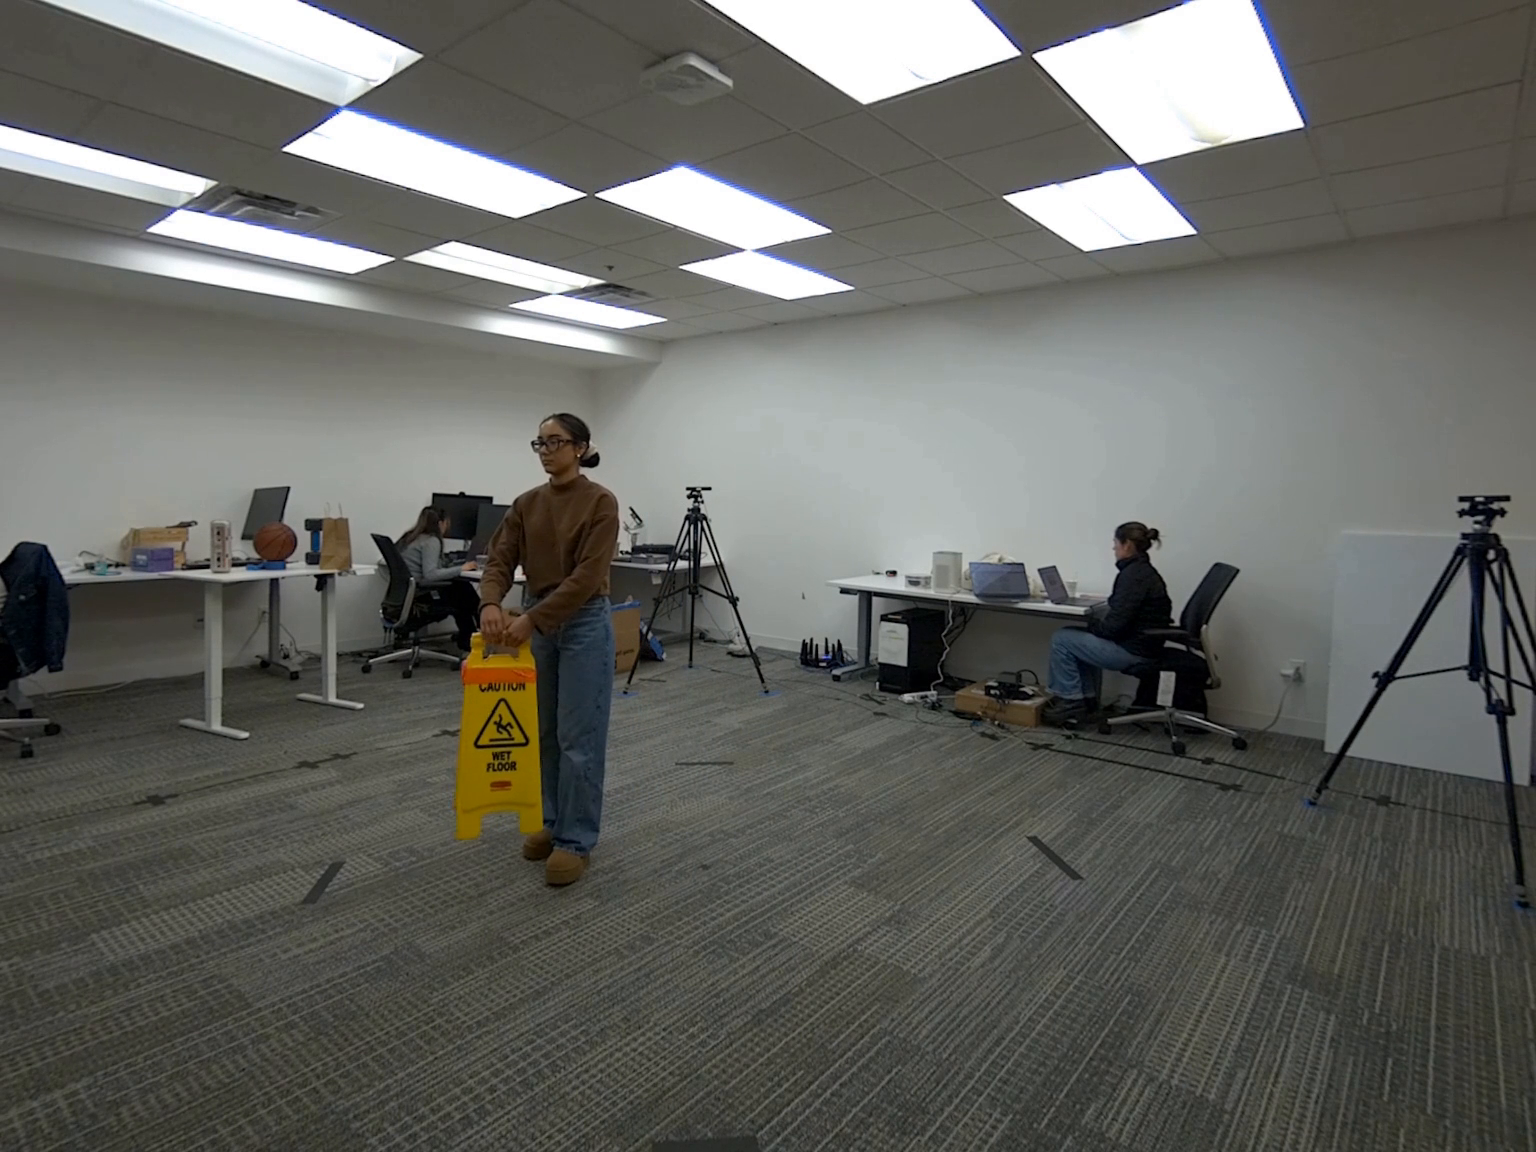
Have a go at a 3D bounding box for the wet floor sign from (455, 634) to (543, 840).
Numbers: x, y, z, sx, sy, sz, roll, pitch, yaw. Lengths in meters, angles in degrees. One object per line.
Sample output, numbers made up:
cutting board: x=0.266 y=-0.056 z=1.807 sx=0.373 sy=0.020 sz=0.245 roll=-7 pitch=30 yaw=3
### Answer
wet floor sign: x=-0.936 y=0.513 z=2.882 sx=0.277 sy=0.643 sz=0.296 roll=0 pitch=5 yaw=-19
